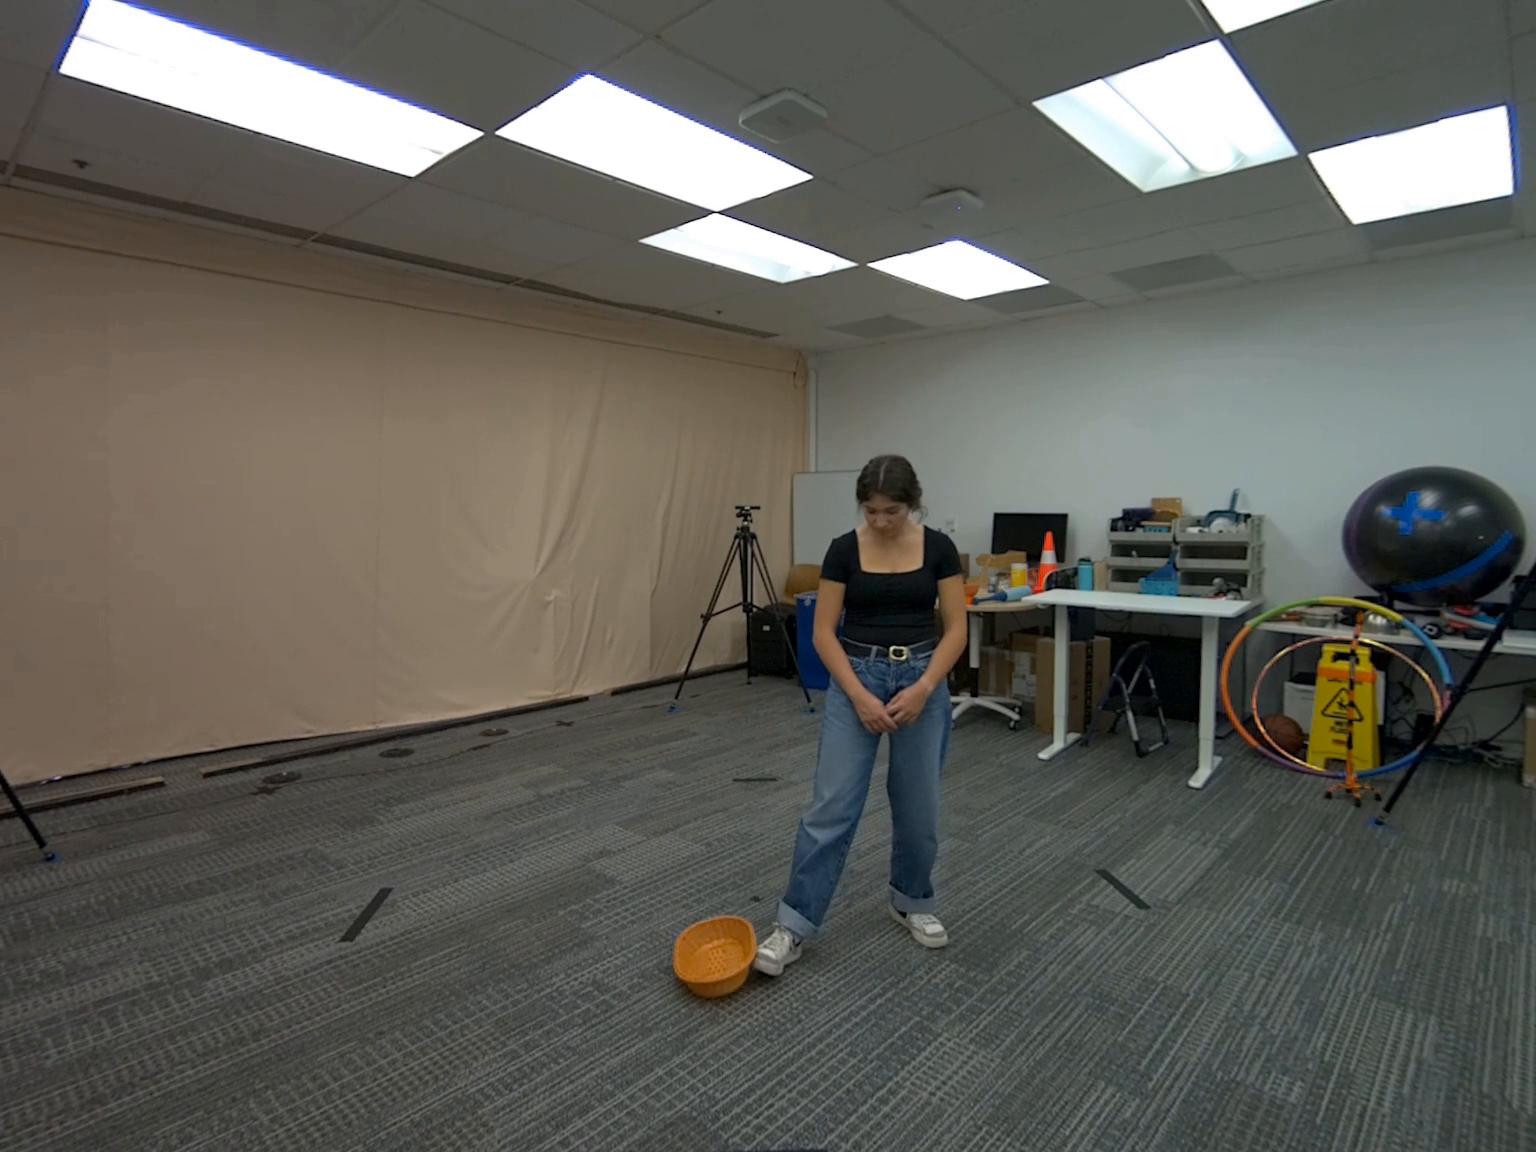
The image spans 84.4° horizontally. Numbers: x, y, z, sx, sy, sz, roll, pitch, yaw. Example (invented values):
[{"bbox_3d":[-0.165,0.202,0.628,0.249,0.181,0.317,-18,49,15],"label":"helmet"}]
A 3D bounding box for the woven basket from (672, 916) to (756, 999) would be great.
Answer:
[{"bbox_3d":[-0.142,1.135,2.495,0.252,0.073,0.352,-11,6,-2],"label":"woven basket"}]
